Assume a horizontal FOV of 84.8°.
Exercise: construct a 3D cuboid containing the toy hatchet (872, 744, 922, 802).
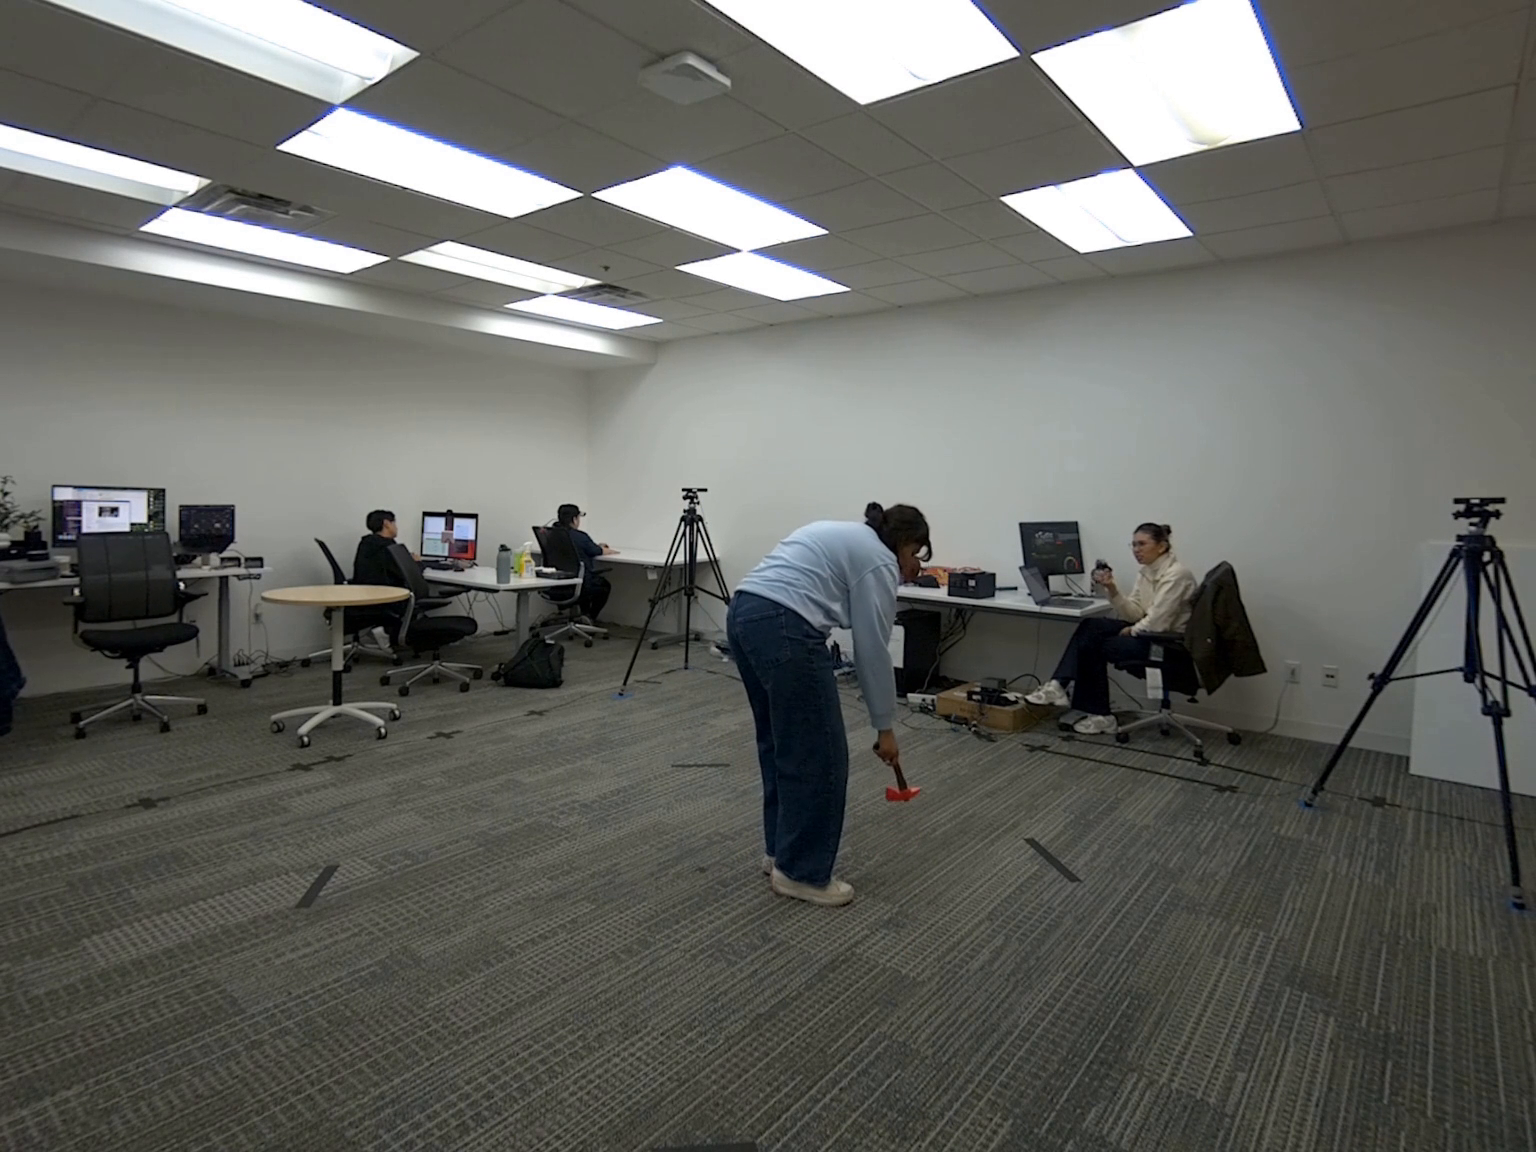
[{"bbox_3d":[0.409,0.706,3.028,0.131,0.265,0.030,-41,13,11],"label":"toy hatchet"}]
